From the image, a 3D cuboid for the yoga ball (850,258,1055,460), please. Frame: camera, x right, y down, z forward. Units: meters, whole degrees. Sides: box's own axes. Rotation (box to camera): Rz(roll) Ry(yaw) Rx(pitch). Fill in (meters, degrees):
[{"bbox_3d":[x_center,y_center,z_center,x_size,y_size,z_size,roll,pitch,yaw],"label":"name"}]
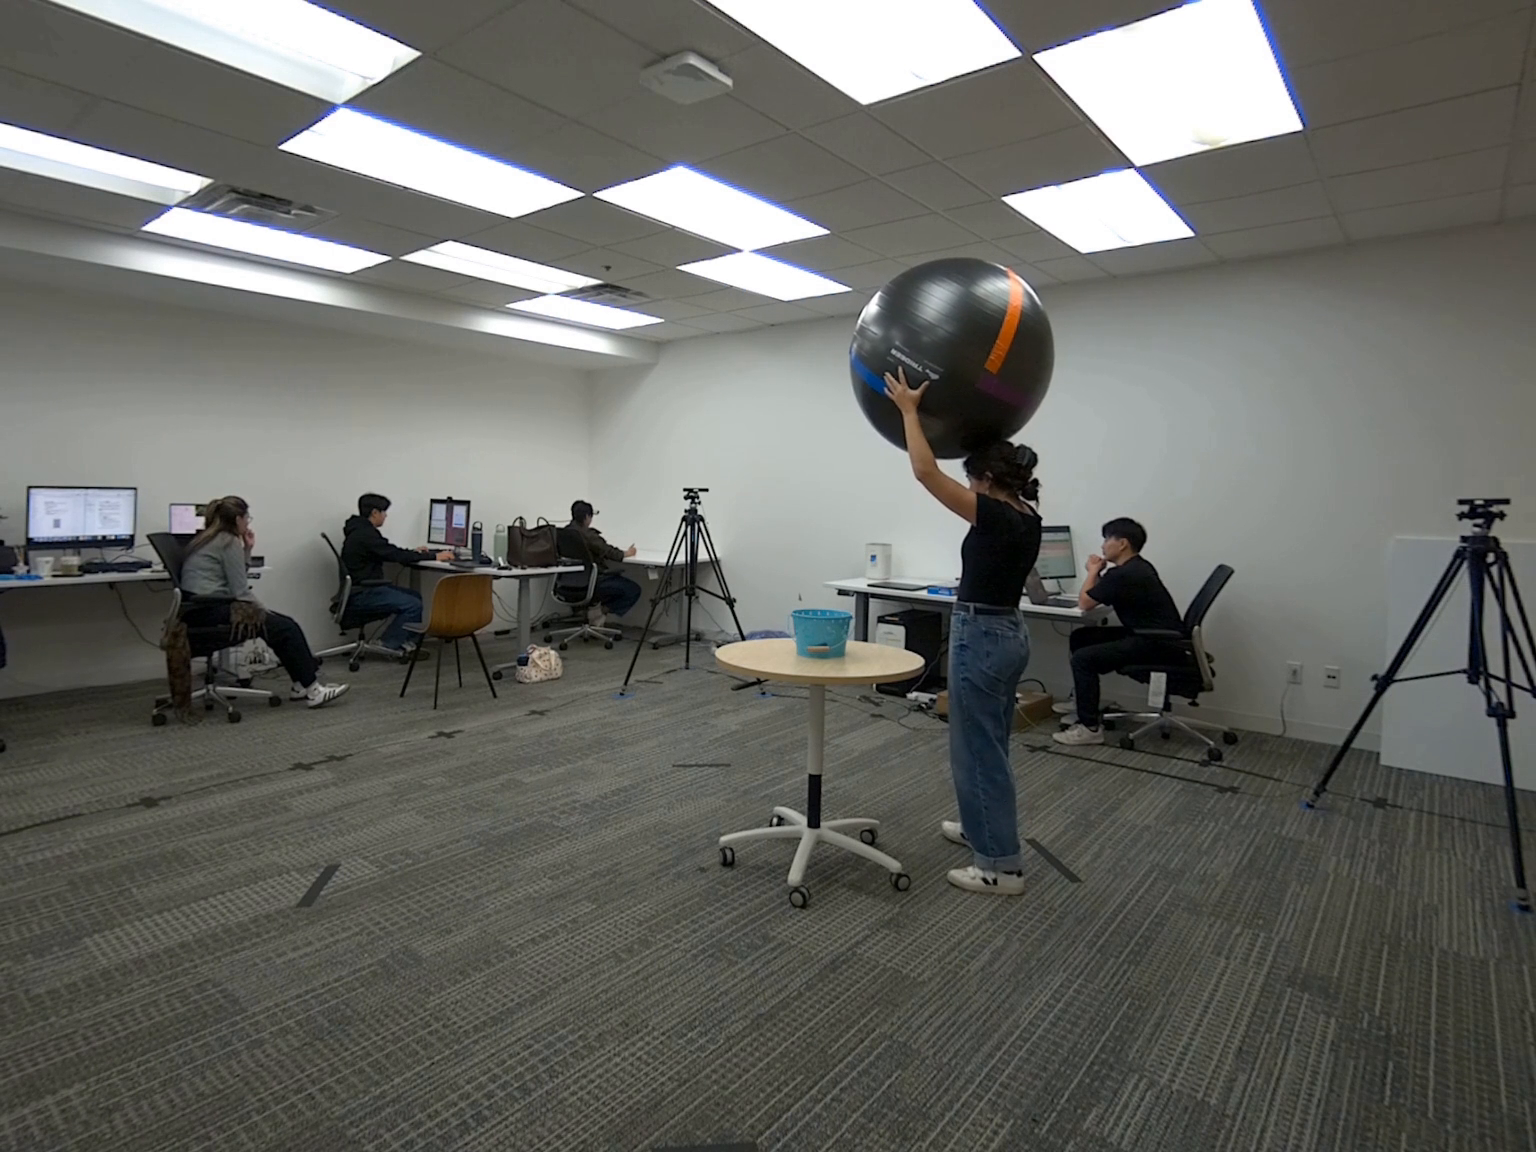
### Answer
[{"bbox_3d":[0.694,-0.828,3.269,0.757,0.755,0.762,1,4,-2],"label":"yoga ball"}]
